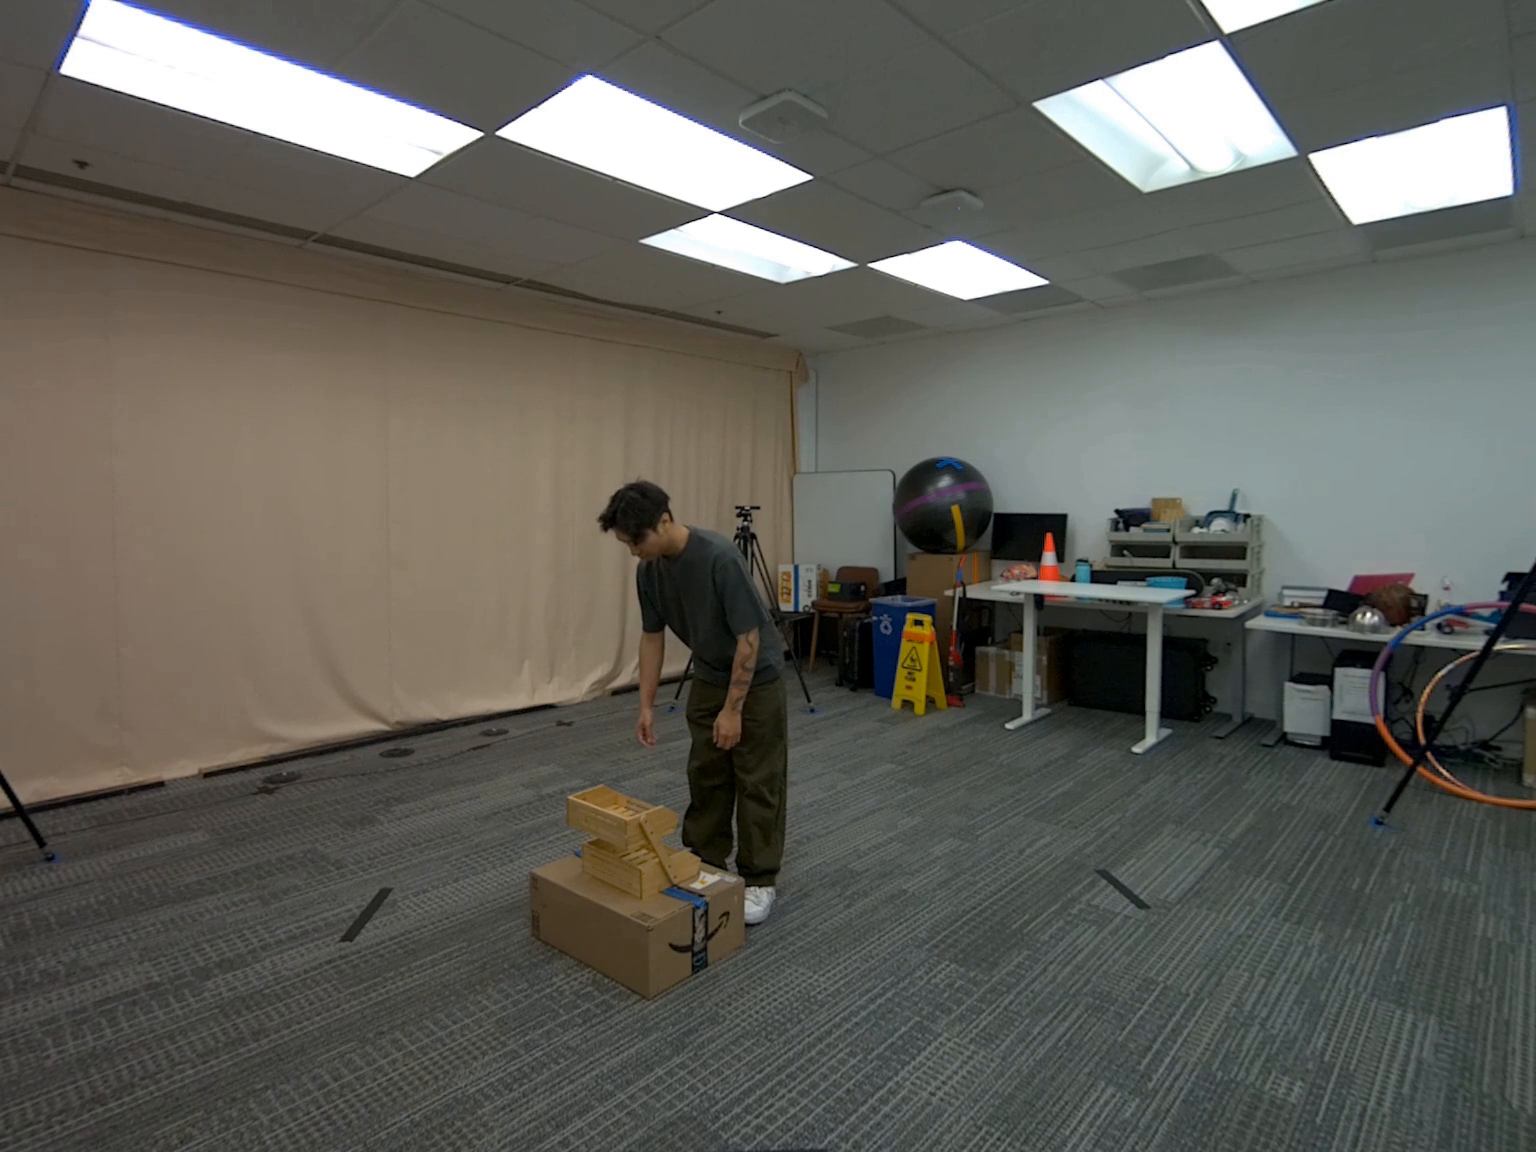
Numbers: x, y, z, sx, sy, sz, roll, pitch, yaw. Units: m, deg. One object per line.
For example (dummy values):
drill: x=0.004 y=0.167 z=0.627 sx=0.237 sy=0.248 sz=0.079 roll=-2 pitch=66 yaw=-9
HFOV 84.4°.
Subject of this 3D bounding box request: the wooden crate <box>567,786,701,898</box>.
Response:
wooden crate: x=-0.430 y=0.826 z=2.694 sx=0.335 sy=0.272 sz=0.293 roll=3 pitch=6 yaw=42
